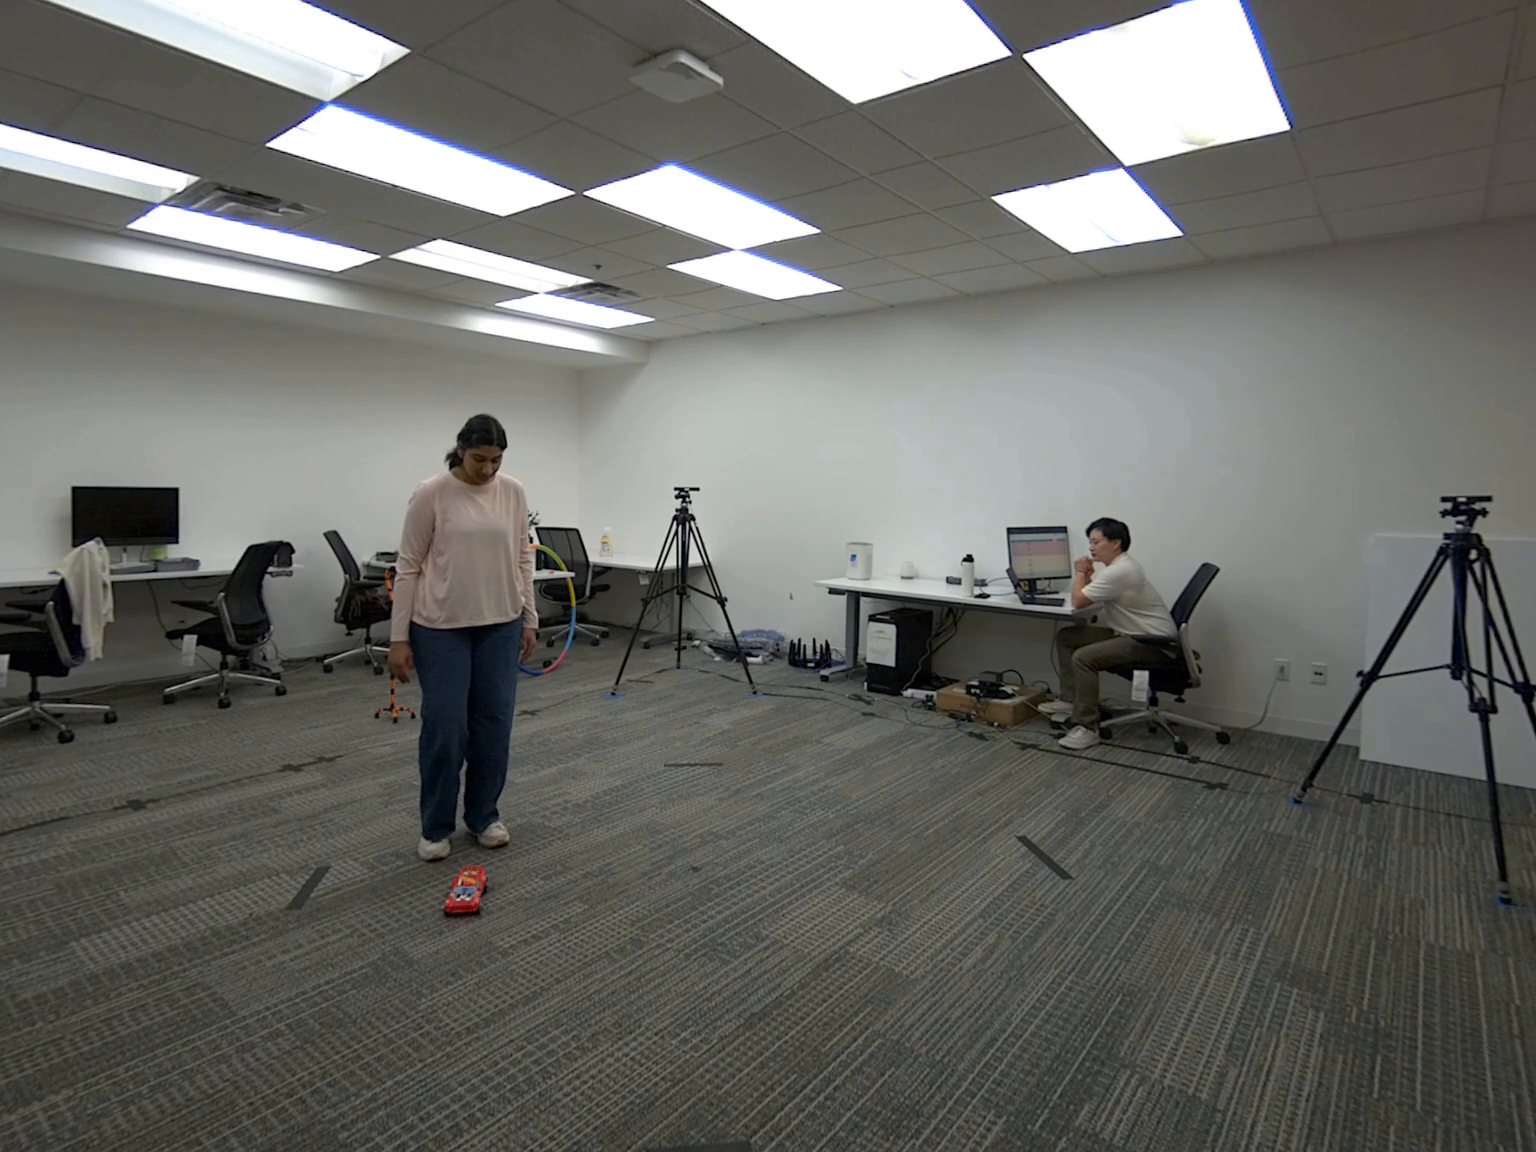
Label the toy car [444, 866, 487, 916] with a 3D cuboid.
[{"bbox_3d":[-1.020,1.052,2.840,0.129,0.082,0.260,1,16,-10],"label":"toy car"}]
